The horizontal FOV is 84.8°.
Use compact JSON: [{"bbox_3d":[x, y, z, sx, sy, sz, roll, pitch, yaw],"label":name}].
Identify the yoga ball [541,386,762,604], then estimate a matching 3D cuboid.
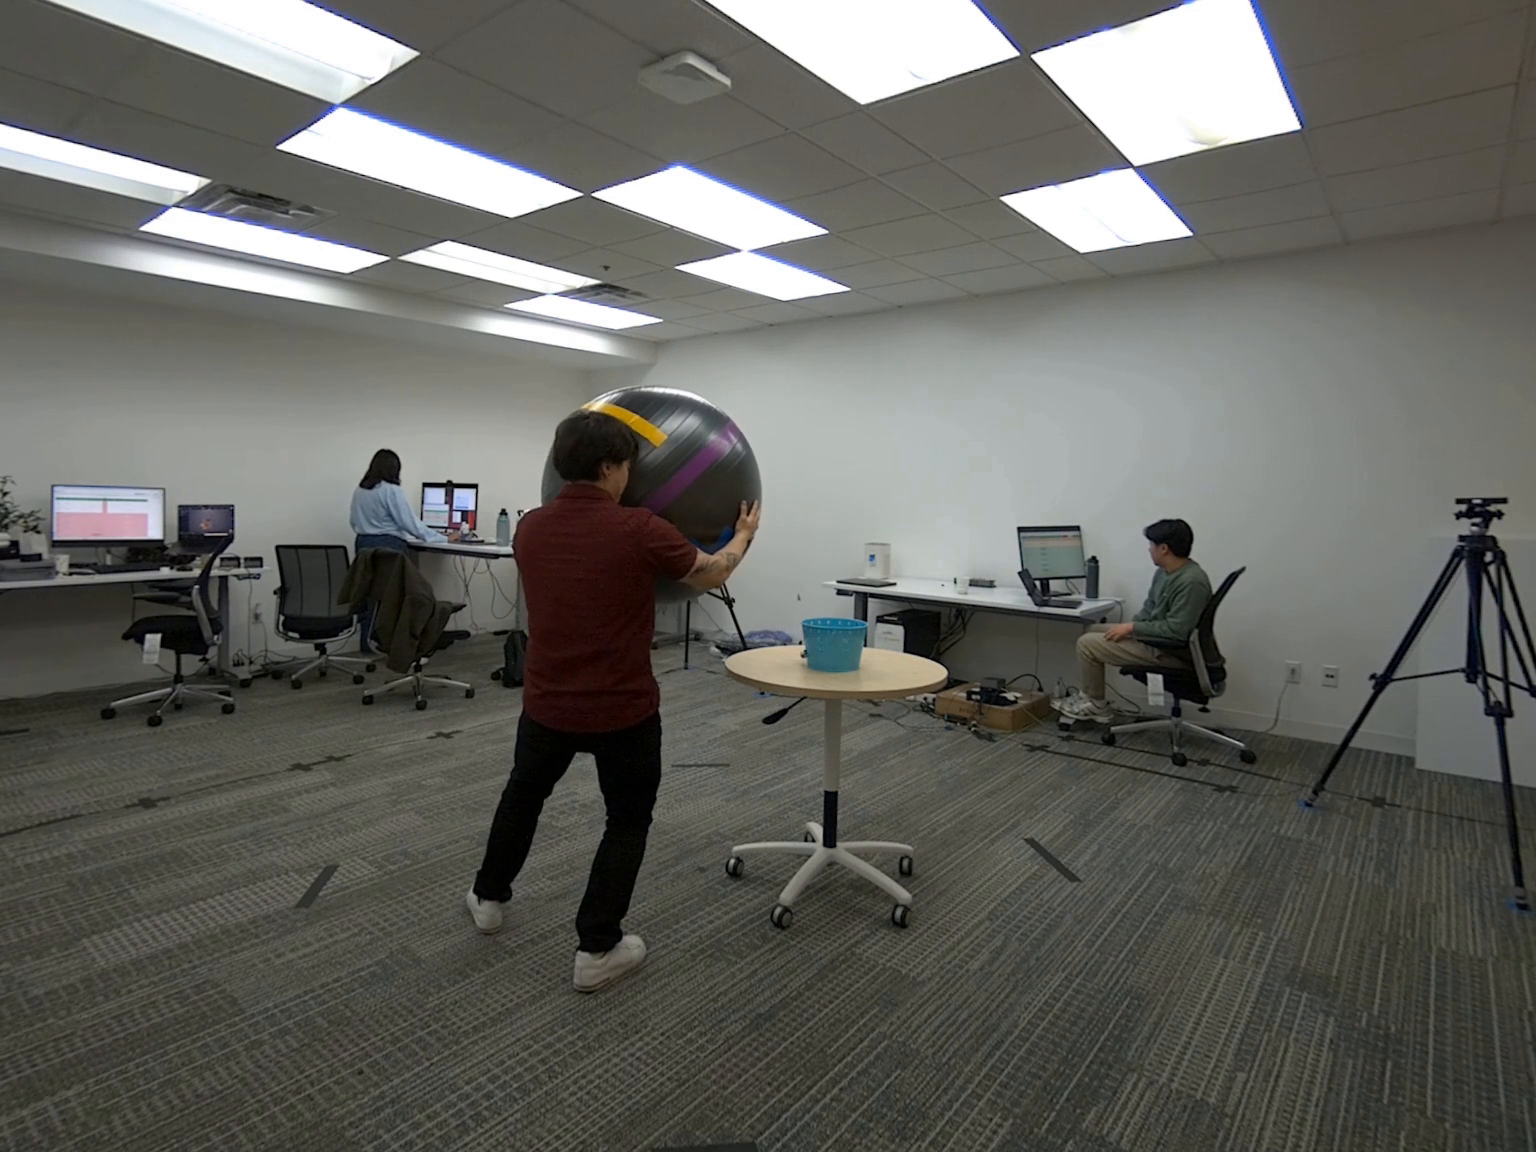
[{"bbox_3d":[-0.422,-0.284,2.935,0.757,0.756,0.761,1,4,-2],"label":"yoga ball"}]
